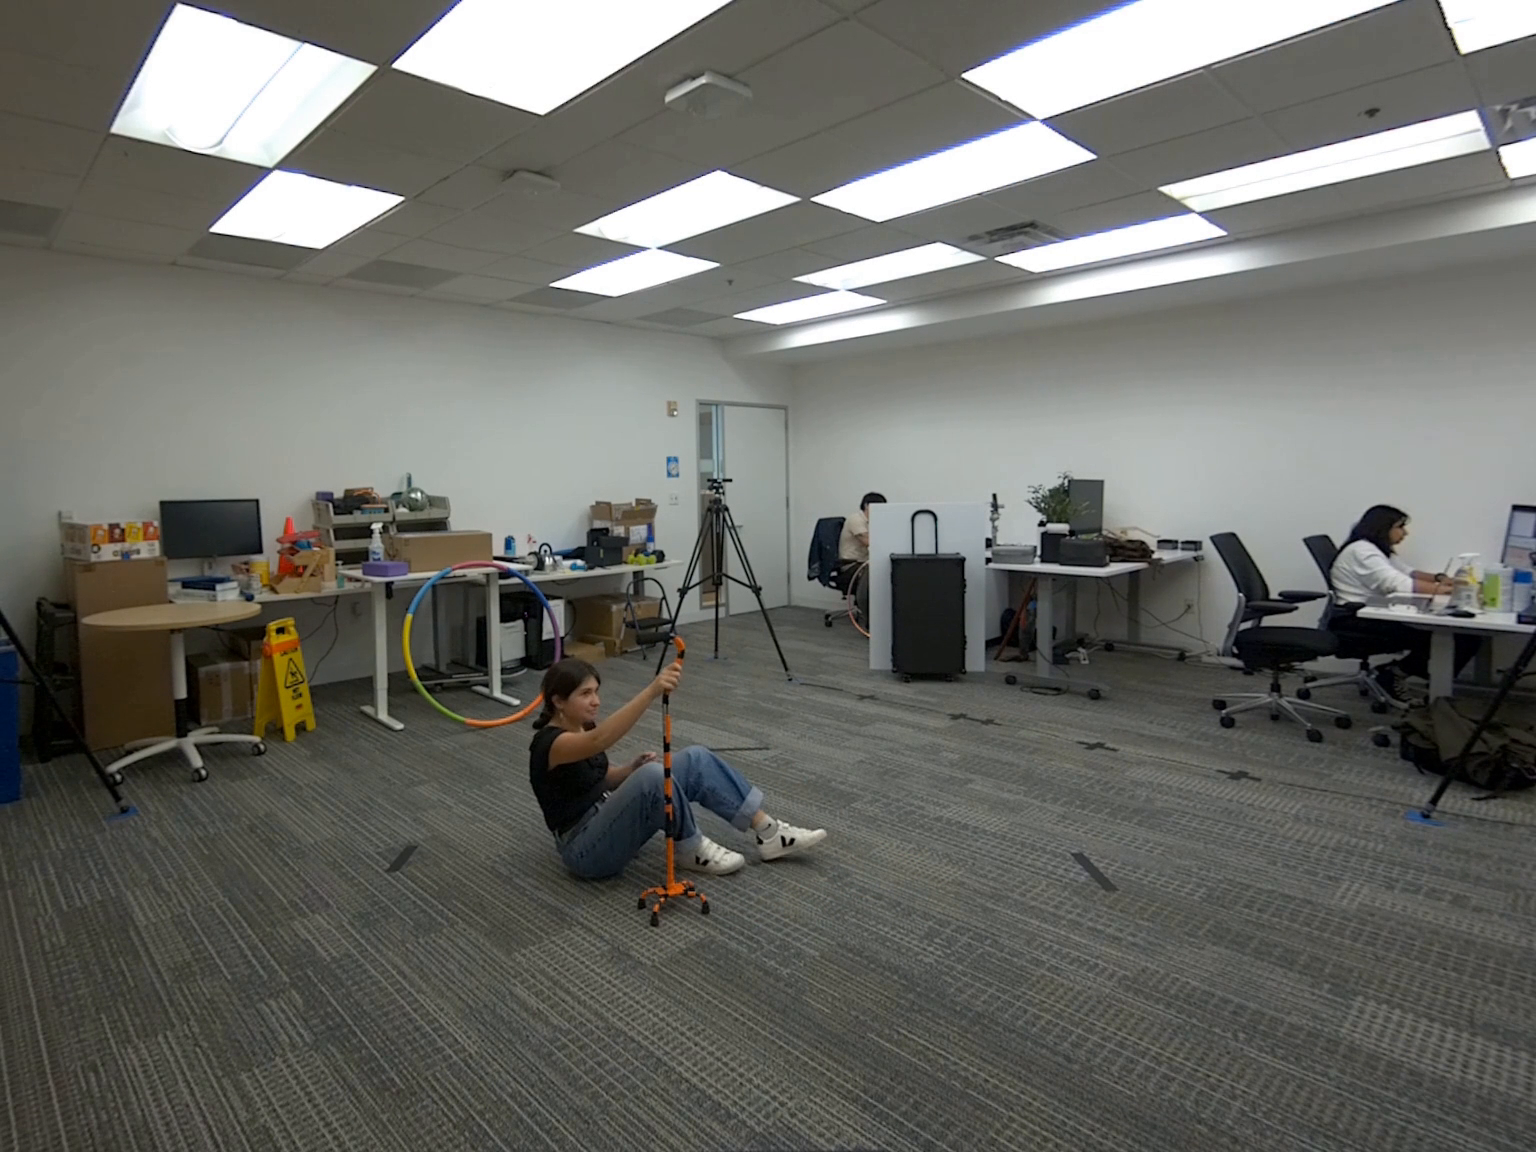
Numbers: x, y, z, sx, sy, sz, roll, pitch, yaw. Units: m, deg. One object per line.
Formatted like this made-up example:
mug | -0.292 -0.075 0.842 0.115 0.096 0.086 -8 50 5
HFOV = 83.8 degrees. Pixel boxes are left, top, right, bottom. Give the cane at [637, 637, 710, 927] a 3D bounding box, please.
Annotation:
cane | -0.313 0.635 2.757 0.201 0.905 0.156 -3 4 -32
